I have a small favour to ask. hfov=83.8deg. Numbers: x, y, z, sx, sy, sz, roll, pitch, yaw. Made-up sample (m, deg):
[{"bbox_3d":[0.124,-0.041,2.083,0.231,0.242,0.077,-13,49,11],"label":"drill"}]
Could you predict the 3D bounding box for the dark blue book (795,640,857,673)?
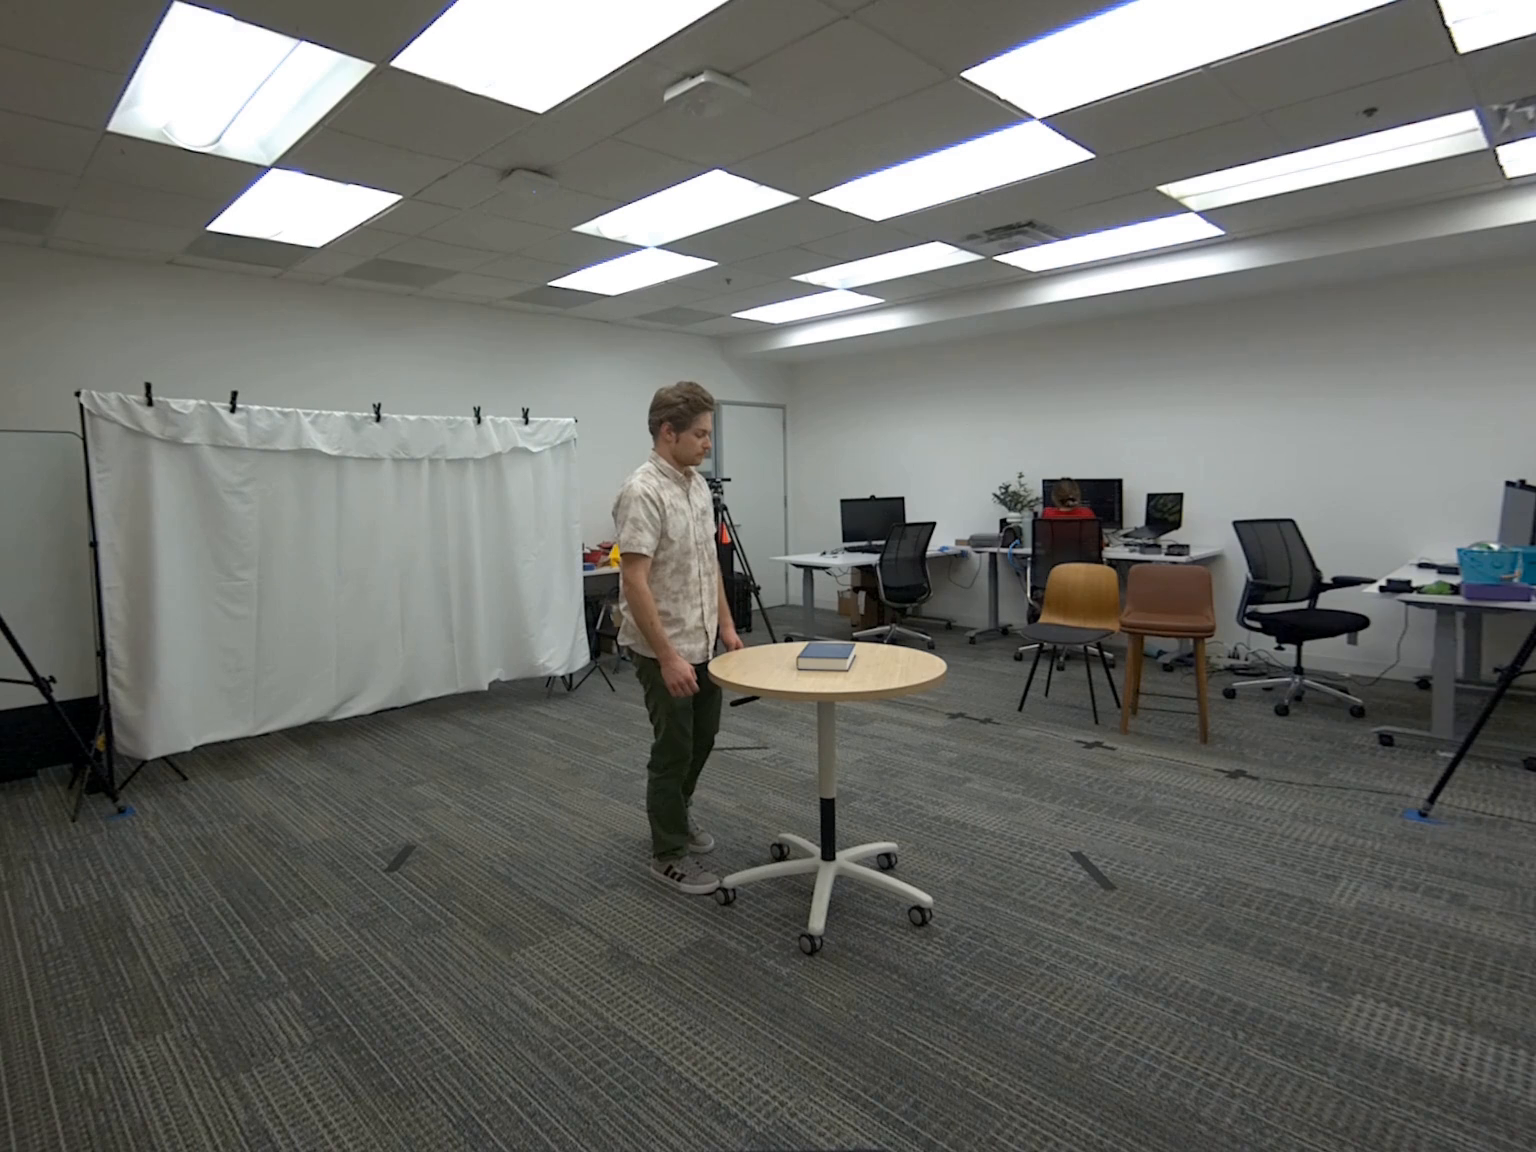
[{"bbox_3d":[0.196,0.259,2.779,0.165,0.045,0.243,1,6,12],"label":"dark blue book"}]
